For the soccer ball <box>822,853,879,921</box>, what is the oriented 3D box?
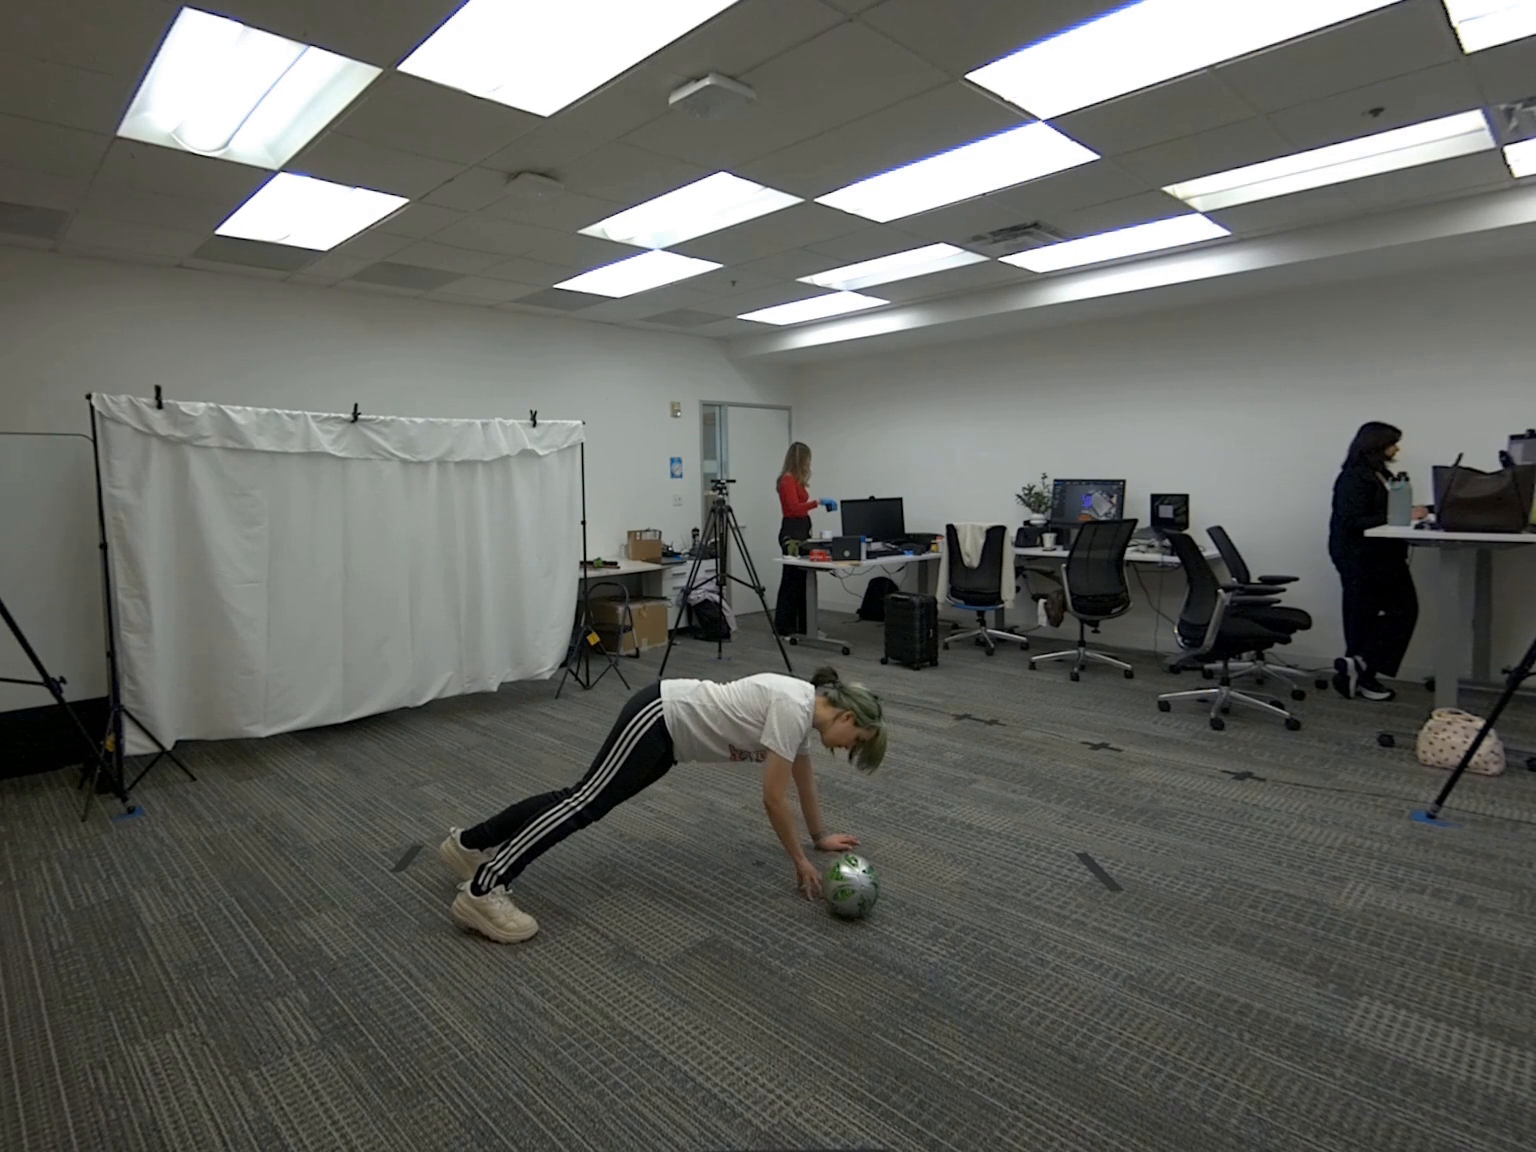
[{"bbox_3d":[0.261,0.985,2.727,0.187,0.187,0.188,-1,5,-2],"label":"soccer ball"}]
